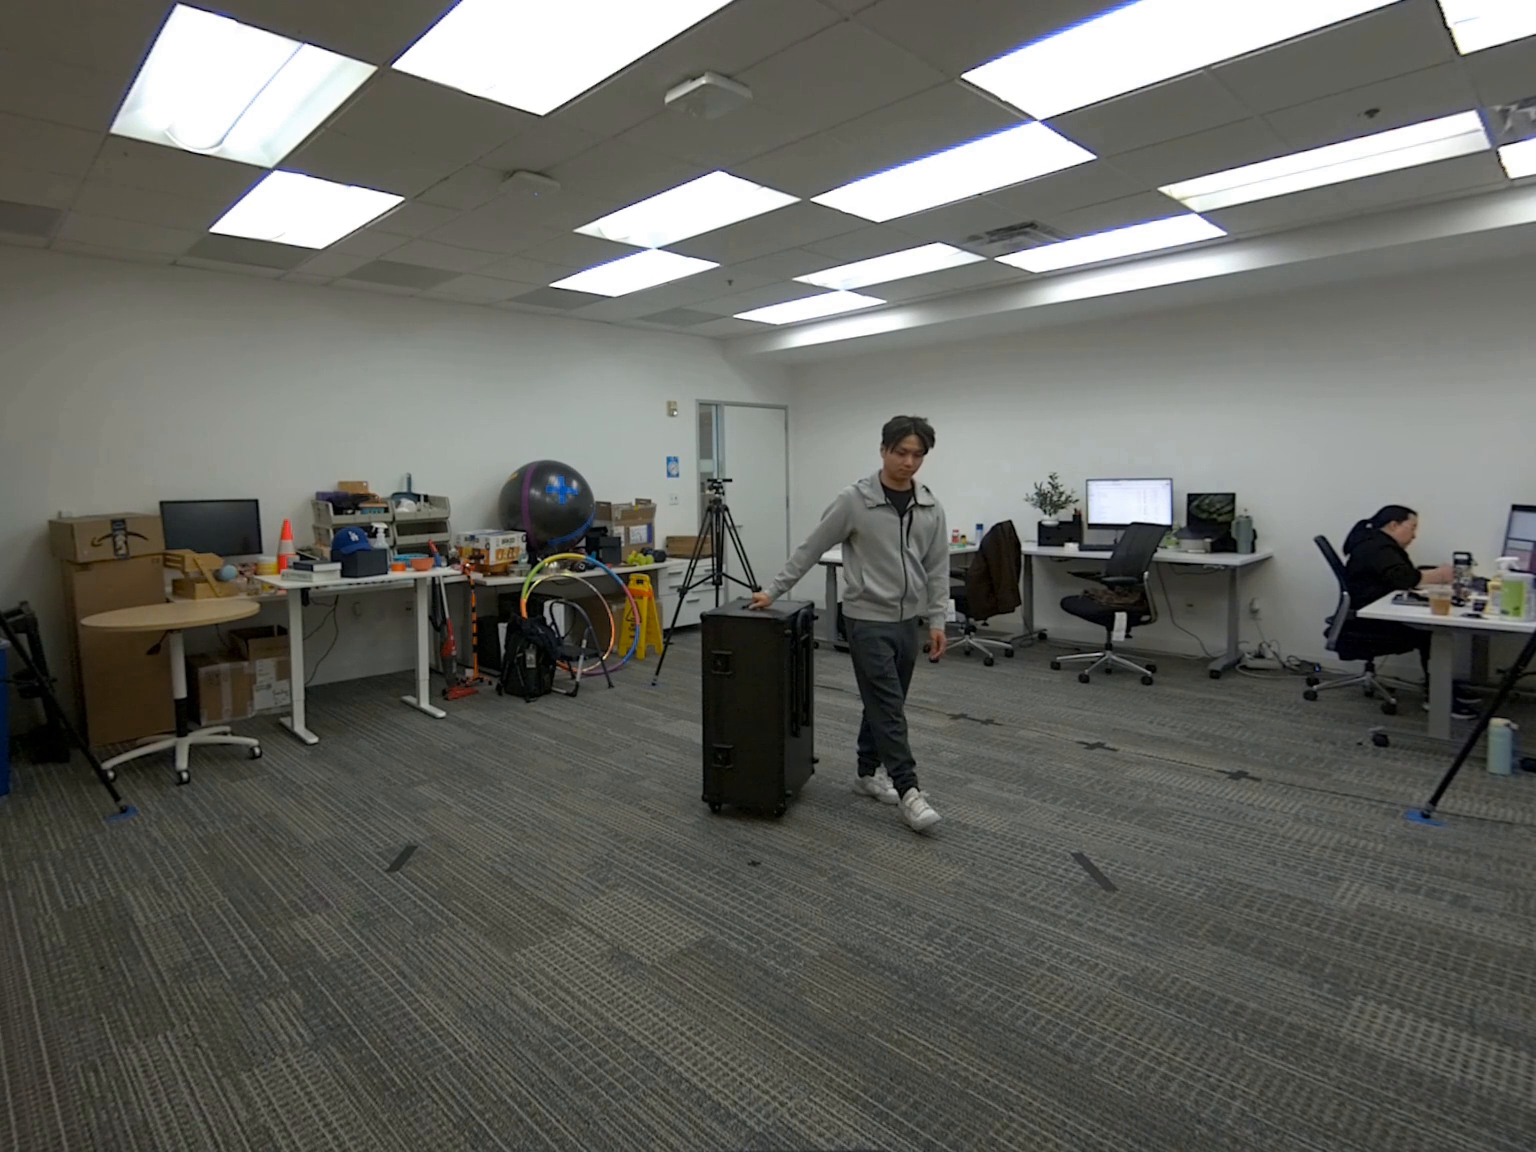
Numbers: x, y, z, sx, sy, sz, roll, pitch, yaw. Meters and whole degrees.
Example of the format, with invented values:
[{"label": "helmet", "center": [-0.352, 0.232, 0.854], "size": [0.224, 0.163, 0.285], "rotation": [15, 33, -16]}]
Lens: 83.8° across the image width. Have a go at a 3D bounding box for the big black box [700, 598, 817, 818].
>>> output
[{"label": "big black box", "center": [-0.020, 0.559, 3.665], "size": [0.404, 0.858, 0.513], "rotation": [2, 5, 19]}]
